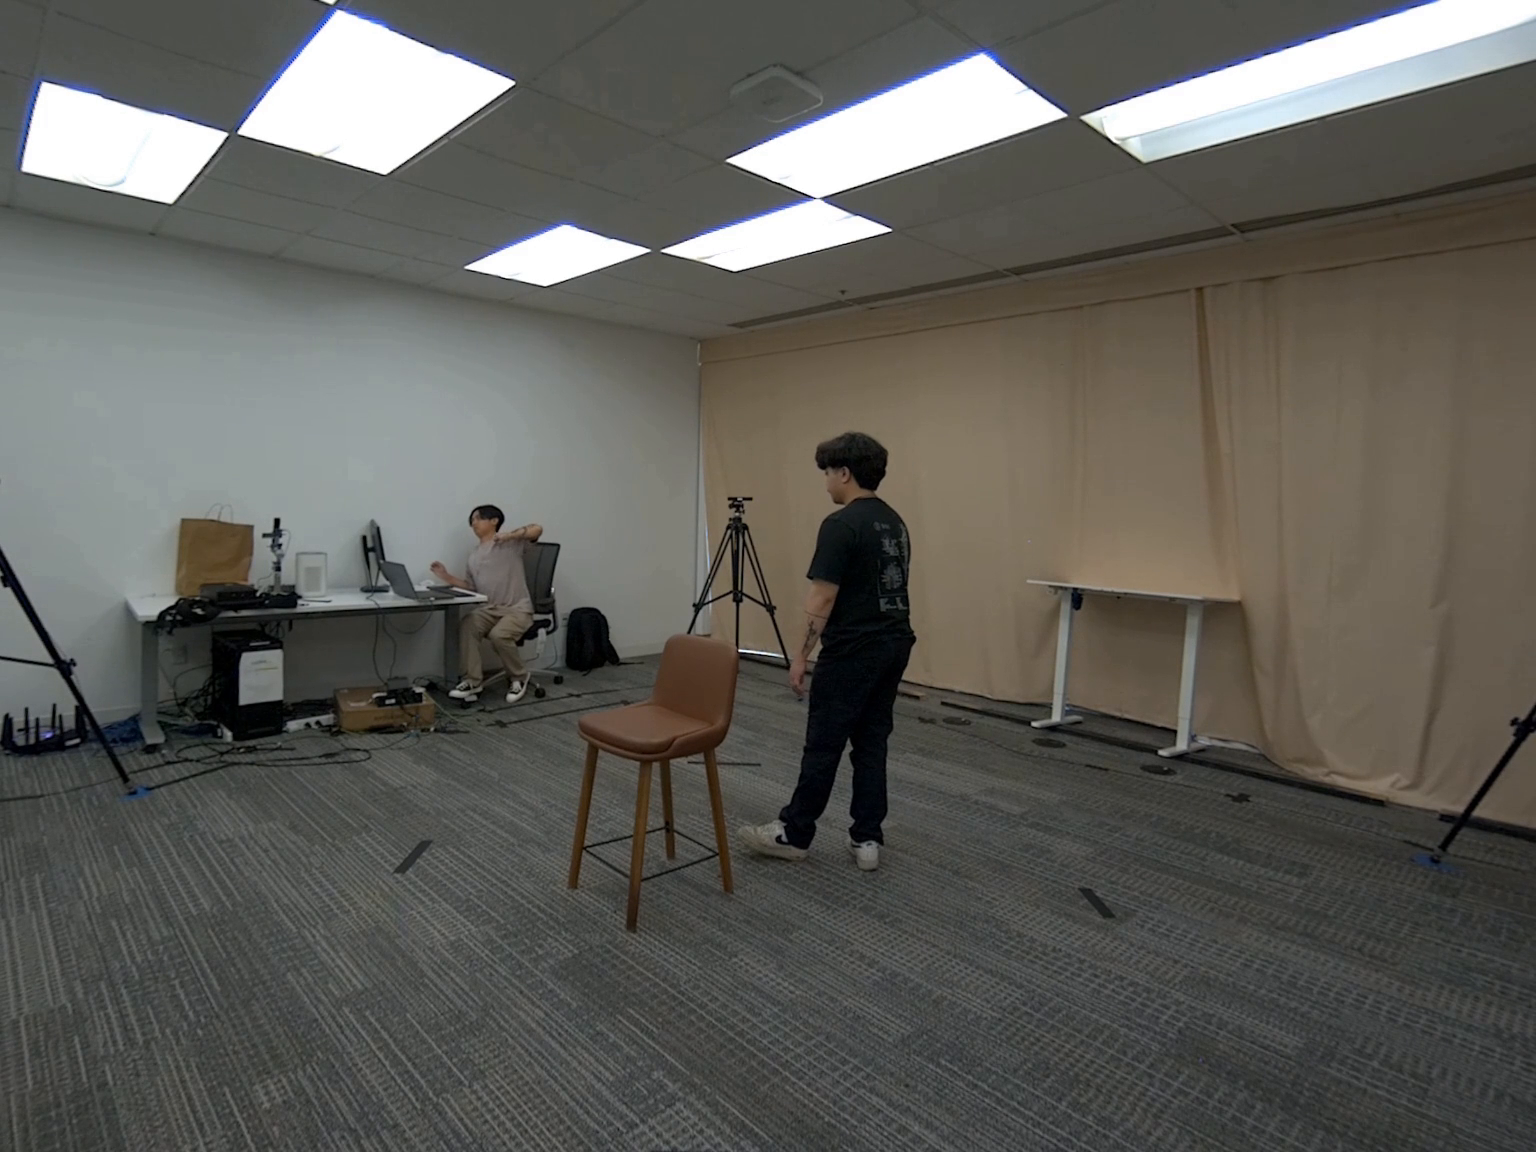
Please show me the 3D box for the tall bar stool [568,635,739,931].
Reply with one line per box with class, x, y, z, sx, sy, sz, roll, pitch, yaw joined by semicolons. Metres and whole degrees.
tall bar stool;-0.398;0.681;2.956;0.456;0.888;0.468;1;3;-41
